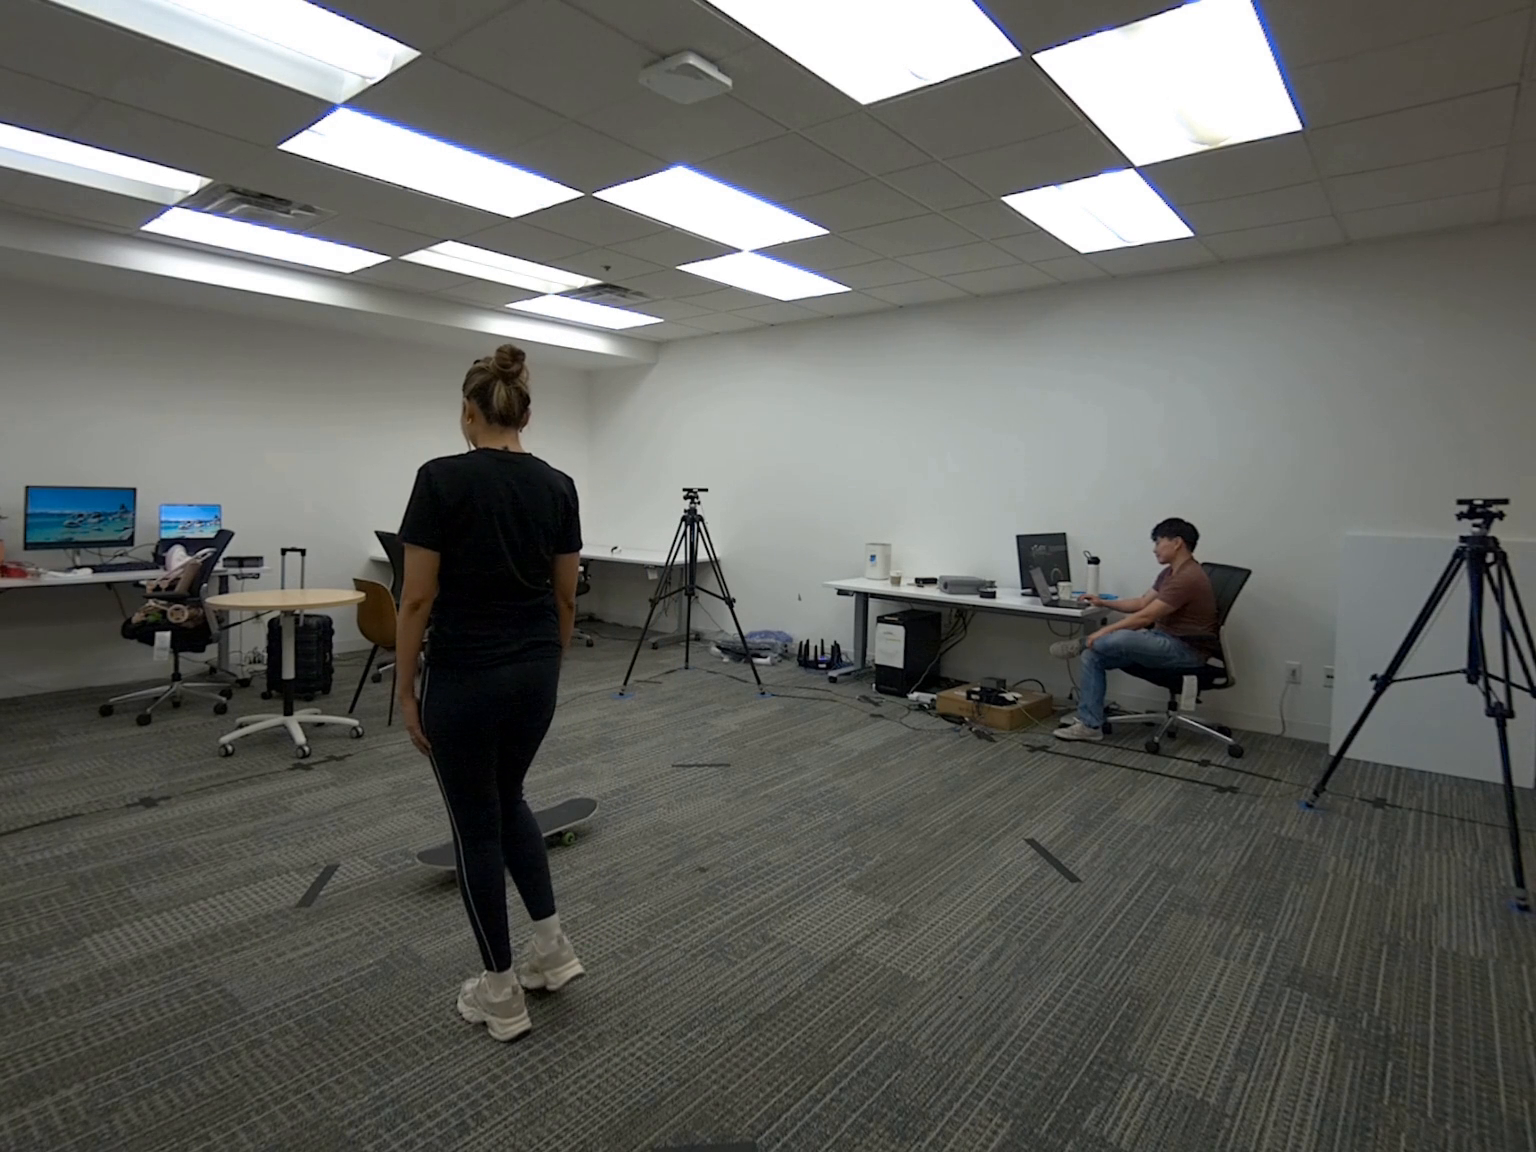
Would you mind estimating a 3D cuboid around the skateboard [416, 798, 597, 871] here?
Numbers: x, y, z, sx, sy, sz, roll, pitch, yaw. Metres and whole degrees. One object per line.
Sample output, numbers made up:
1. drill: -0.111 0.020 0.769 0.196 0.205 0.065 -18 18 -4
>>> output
1. skateboard: -0.963 0.994 3.196 0.200 0.110 0.763 6 7 36
